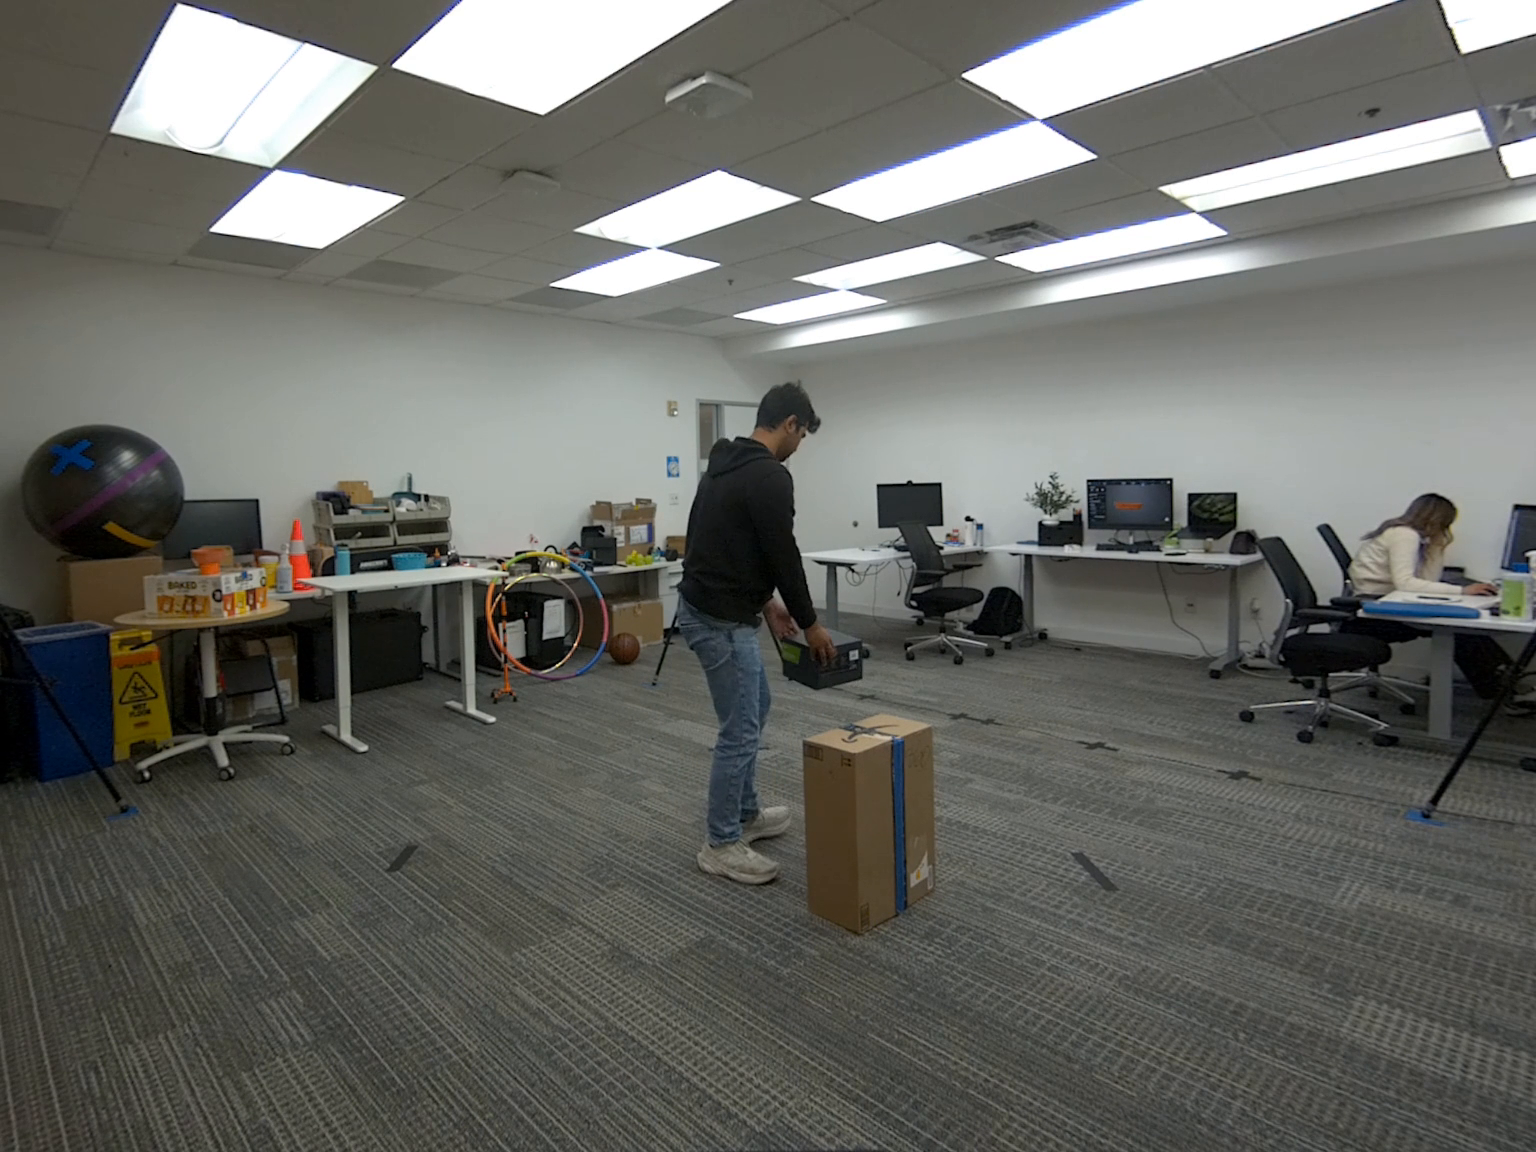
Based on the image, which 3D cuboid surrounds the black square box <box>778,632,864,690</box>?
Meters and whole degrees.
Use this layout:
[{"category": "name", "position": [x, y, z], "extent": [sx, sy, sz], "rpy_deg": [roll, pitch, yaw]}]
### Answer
[{"category": "black square box", "position": [0.212, 0.319, 3.247], "extent": [0.212, 0.154, 0.235], "rpy_deg": [-9, 13, -31]}]
